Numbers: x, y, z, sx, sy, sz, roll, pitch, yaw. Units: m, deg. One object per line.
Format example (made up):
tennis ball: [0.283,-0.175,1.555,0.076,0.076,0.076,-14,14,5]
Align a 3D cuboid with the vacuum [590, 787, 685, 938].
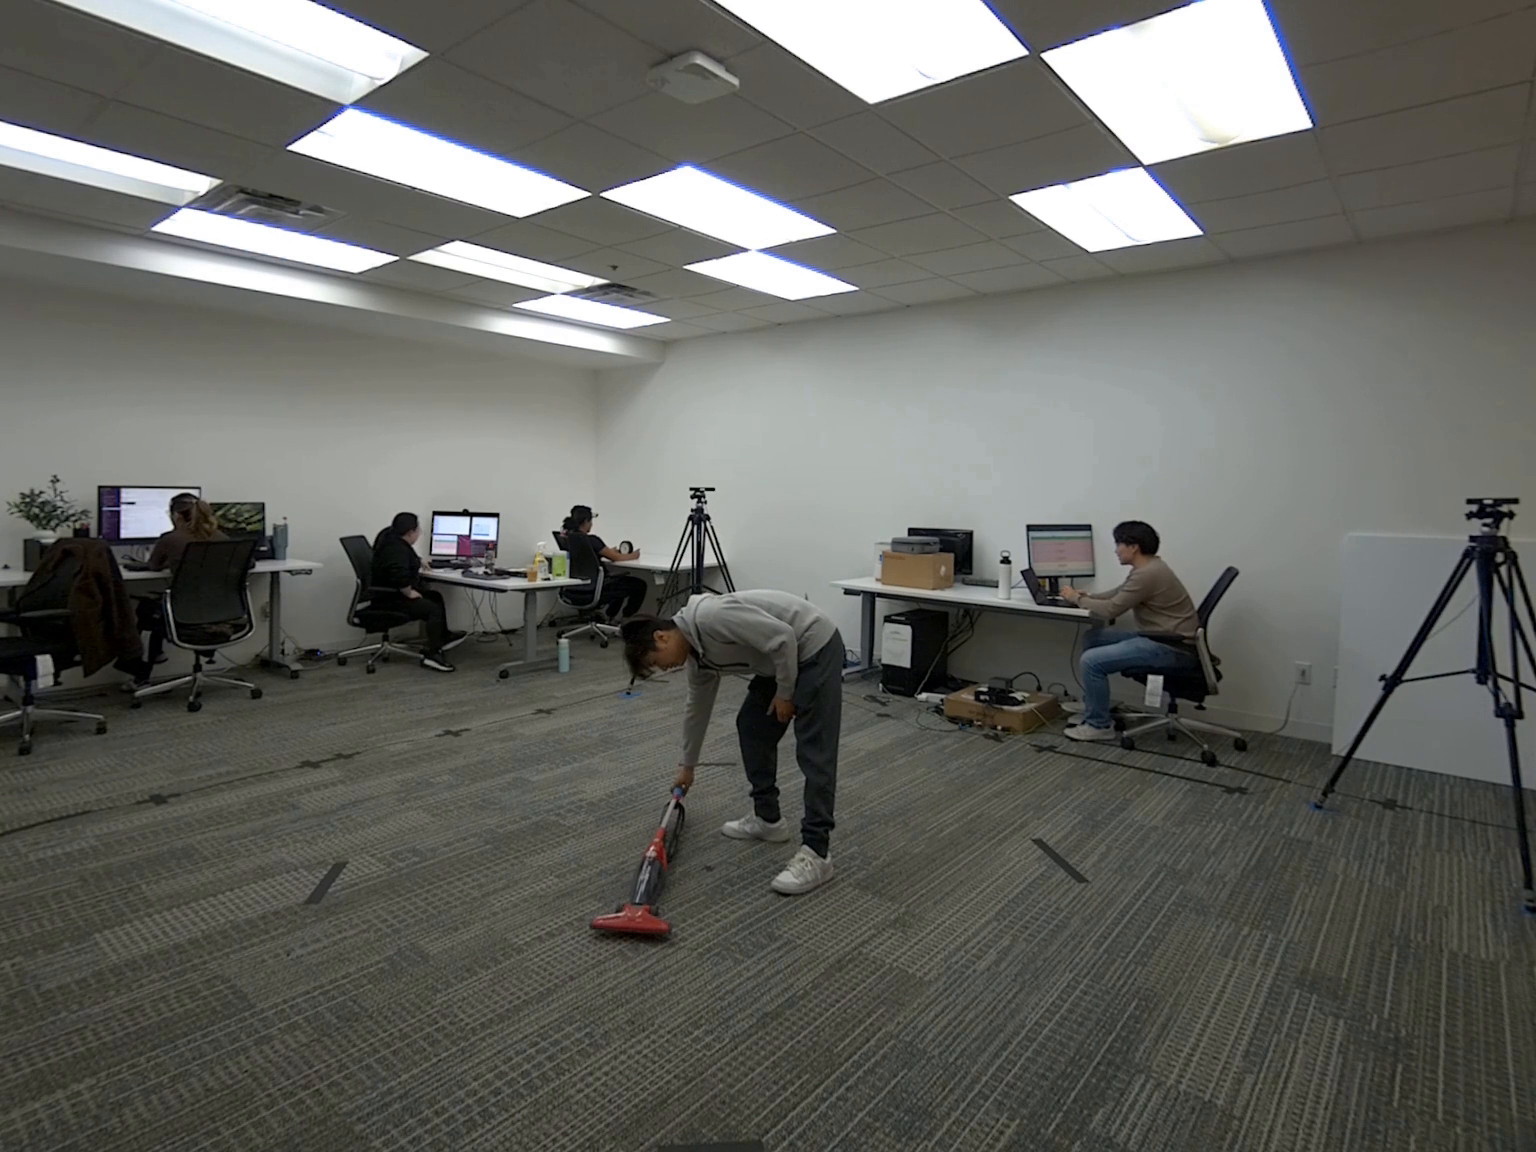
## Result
vacuum: [-0.398,0.987,3.184,0.253,0.143,1.053,-4,8,2]
